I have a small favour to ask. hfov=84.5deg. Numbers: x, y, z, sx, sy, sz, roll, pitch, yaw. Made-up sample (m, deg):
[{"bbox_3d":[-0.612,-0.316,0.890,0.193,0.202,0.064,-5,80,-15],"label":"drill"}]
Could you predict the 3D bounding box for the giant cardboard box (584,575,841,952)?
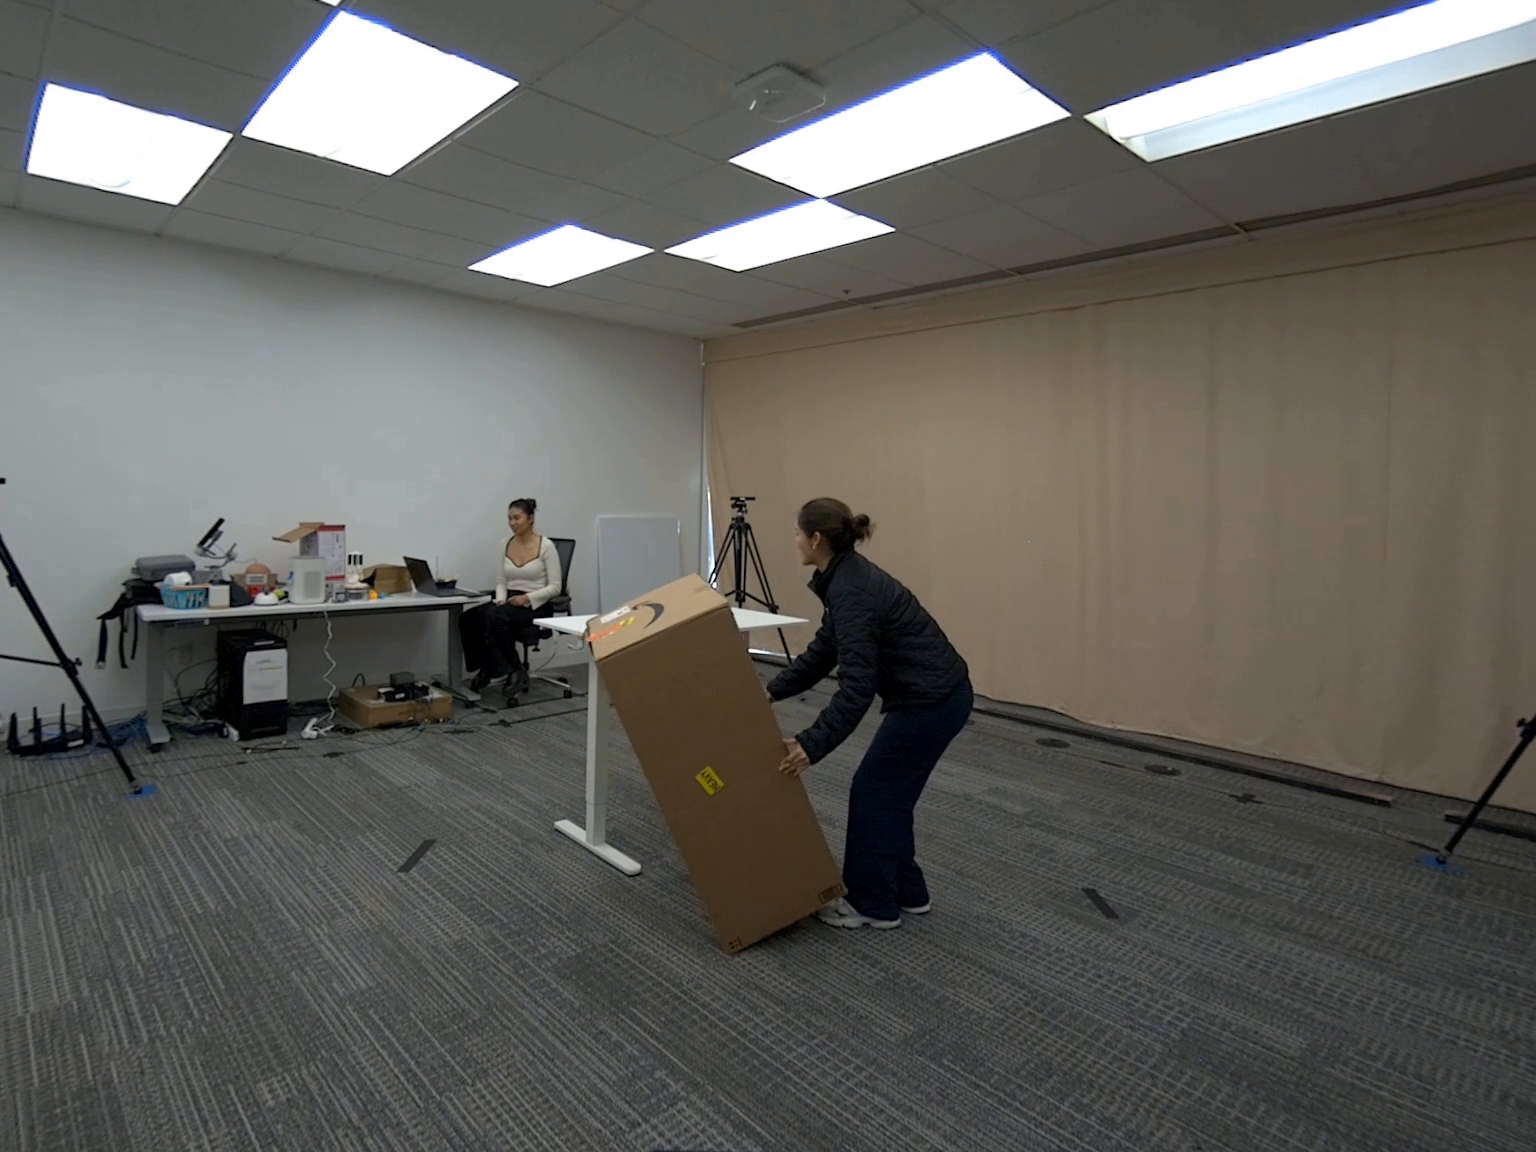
[{"bbox_3d":[-0.192,0.574,2.777,0.424,1.015,0.586,-23,12,-9],"label":"giant cardboard box"}]
